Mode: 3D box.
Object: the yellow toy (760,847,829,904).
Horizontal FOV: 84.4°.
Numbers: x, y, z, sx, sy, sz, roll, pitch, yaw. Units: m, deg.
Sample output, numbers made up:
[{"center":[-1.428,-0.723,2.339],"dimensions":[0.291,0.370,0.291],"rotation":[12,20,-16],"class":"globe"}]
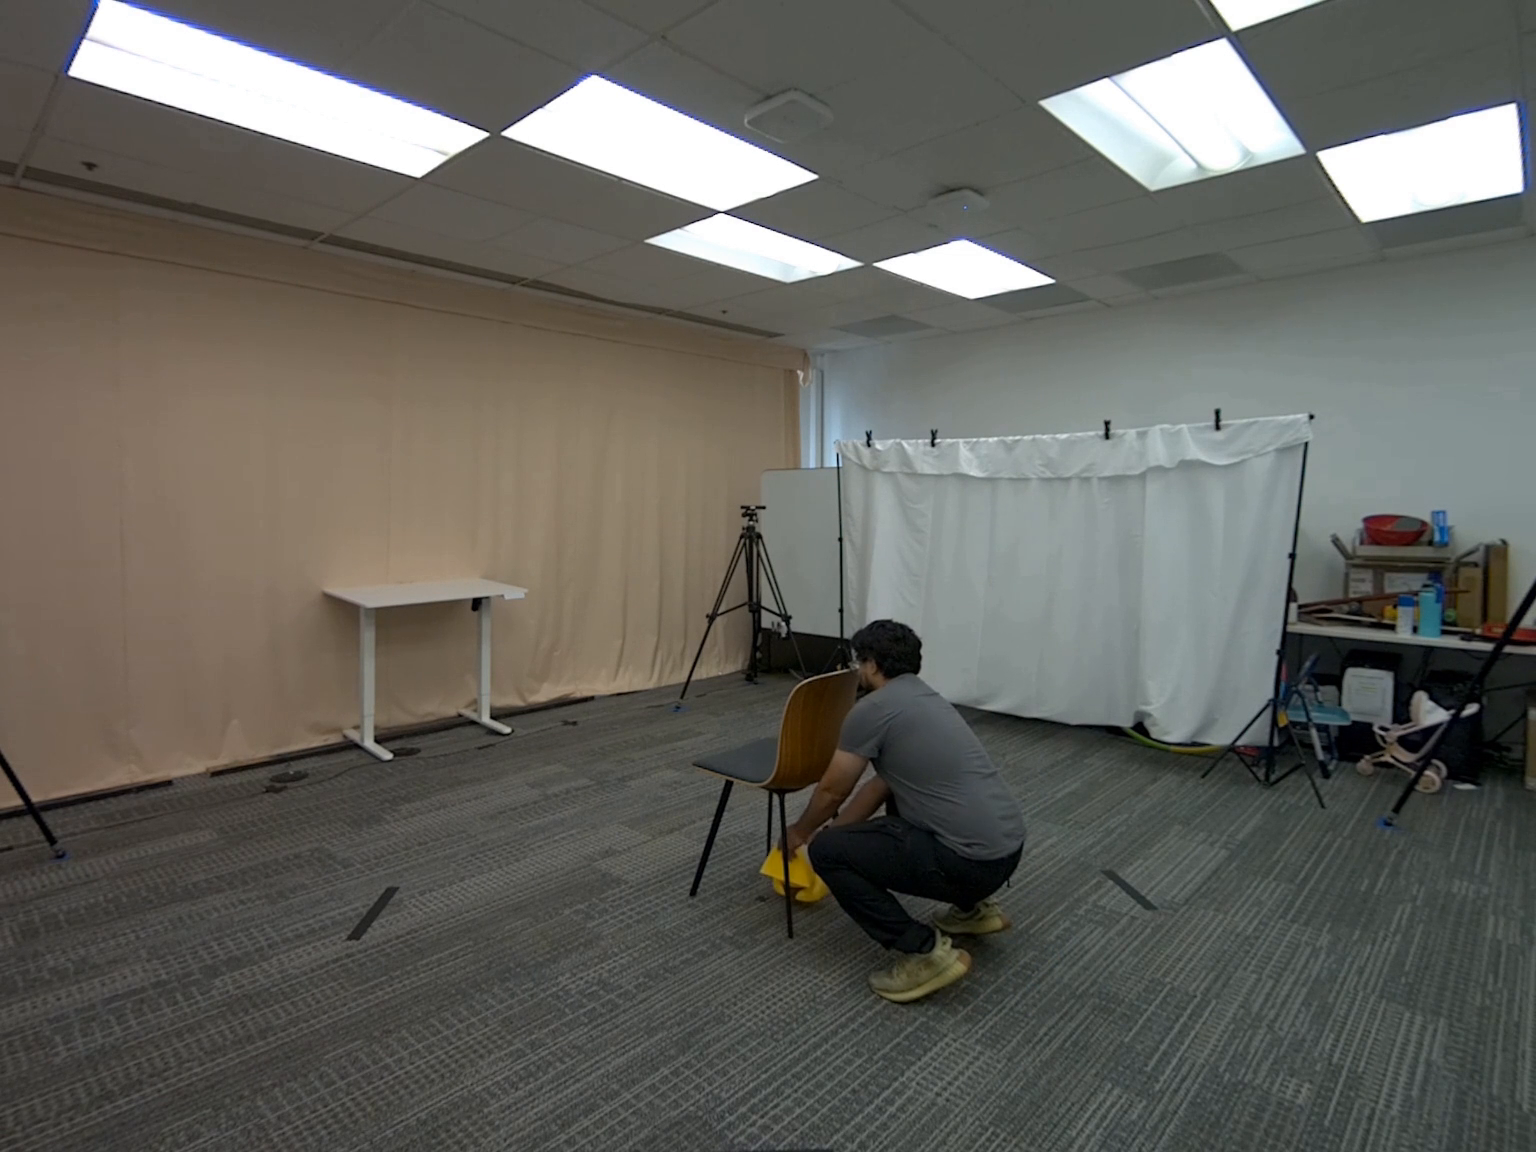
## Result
[{"center":[0.096,0.993,2.938],"dimensions":[0.211,0.229,0.188],"rotation":[1,13,36],"class":"yellow toy"}]
